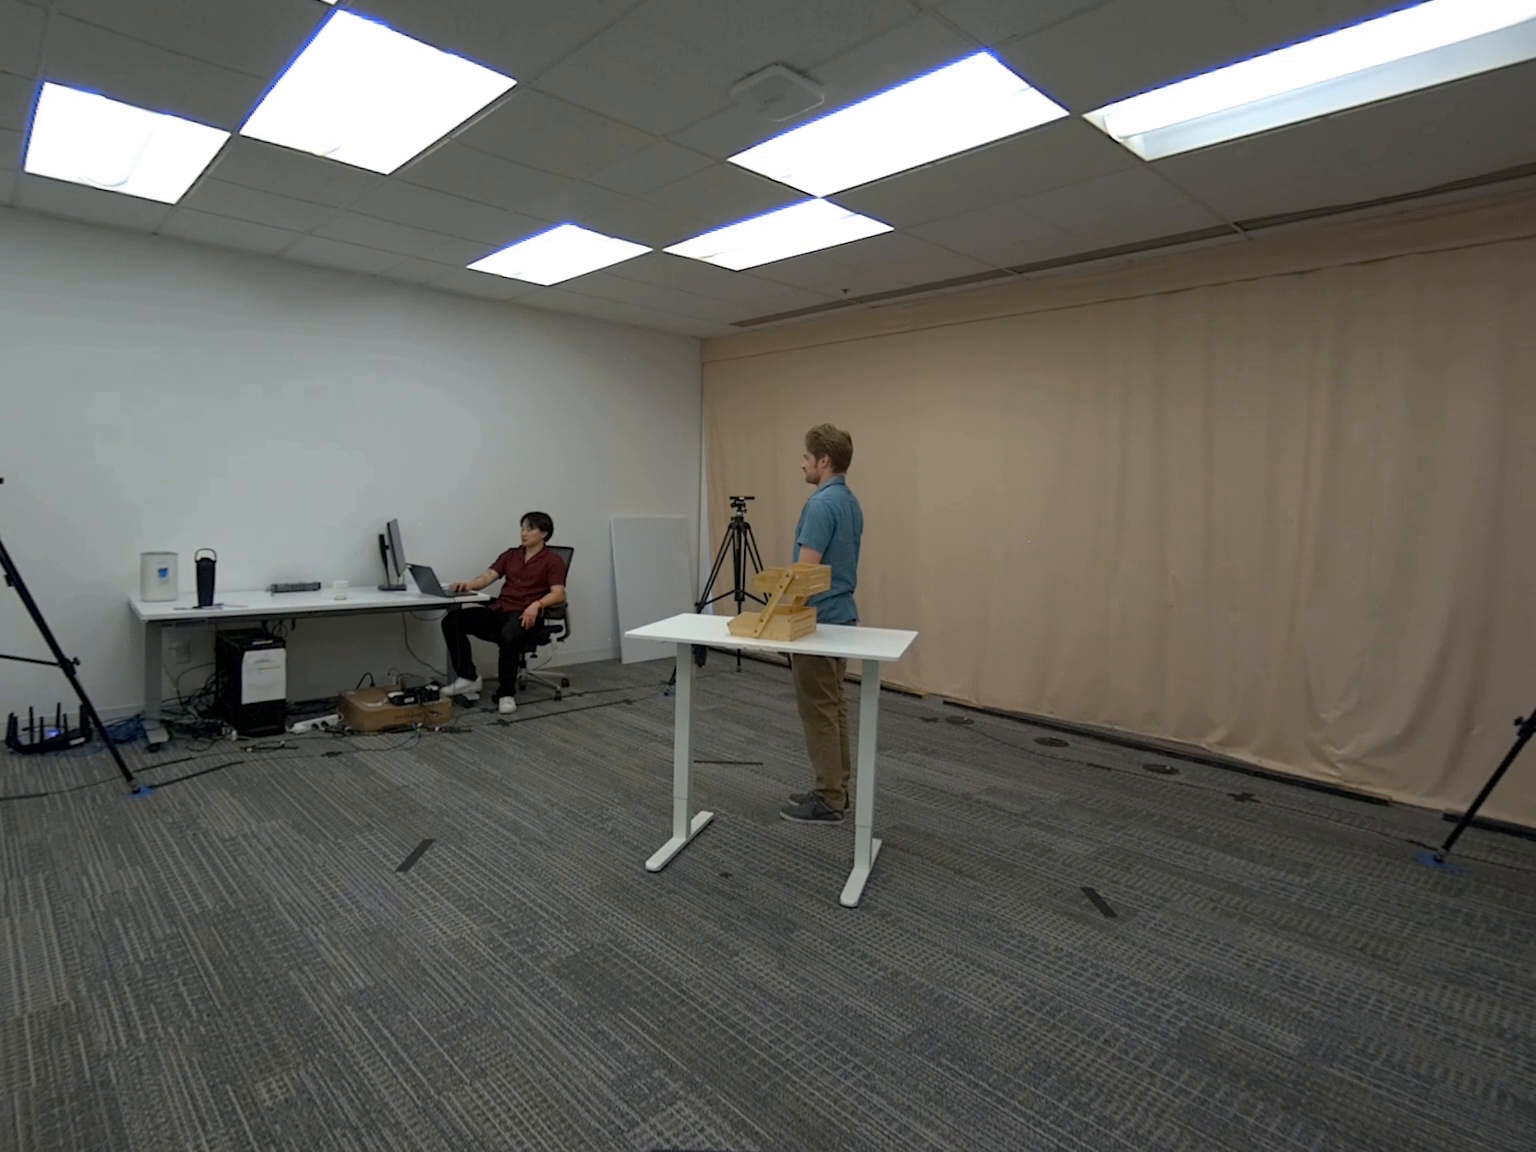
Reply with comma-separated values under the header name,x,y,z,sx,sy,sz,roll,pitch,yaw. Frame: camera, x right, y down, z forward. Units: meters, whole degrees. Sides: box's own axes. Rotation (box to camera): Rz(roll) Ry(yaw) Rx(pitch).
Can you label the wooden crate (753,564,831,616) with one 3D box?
name,x,y,z,sx,sy,sz,roll,pitch,yaw
wooden crate,0.035,0.085,3.176,0.307,0.272,0.319,5,5,22
